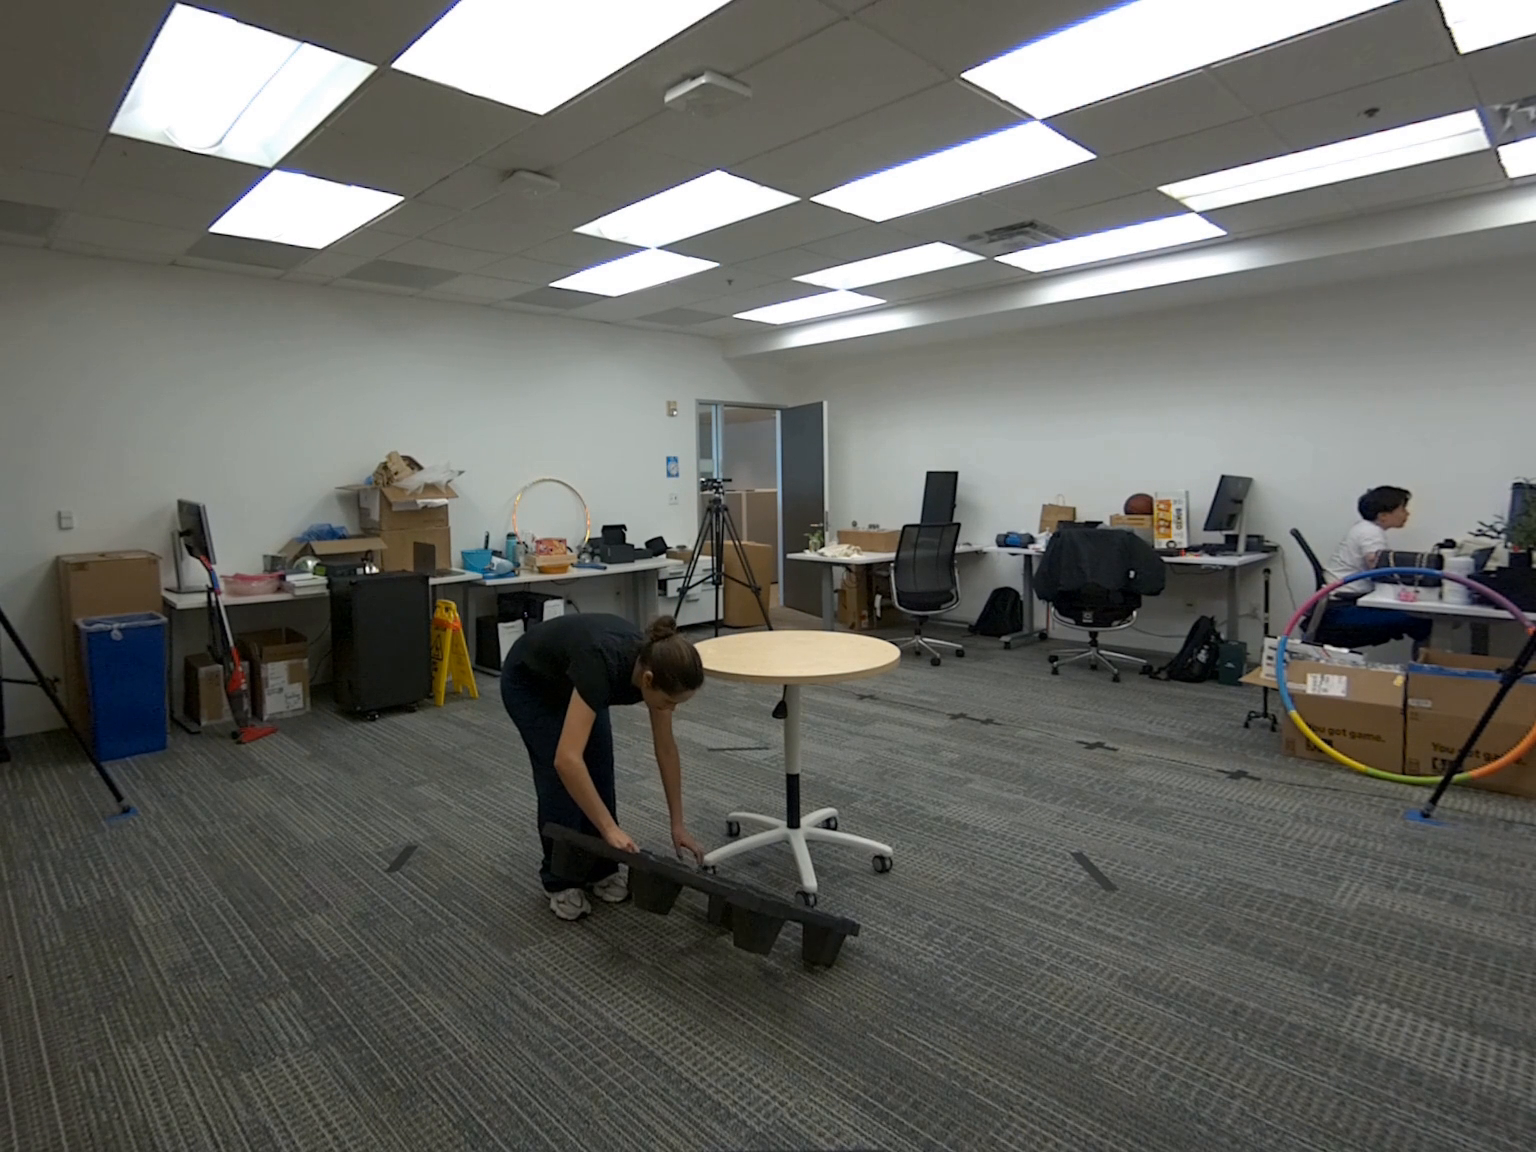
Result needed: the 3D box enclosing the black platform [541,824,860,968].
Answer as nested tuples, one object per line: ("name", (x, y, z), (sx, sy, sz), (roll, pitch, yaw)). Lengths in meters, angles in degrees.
("black platform", (-0.212, 0.947, 2.530), (0.829, 0.145, 0.581), (4, -23, 36))
